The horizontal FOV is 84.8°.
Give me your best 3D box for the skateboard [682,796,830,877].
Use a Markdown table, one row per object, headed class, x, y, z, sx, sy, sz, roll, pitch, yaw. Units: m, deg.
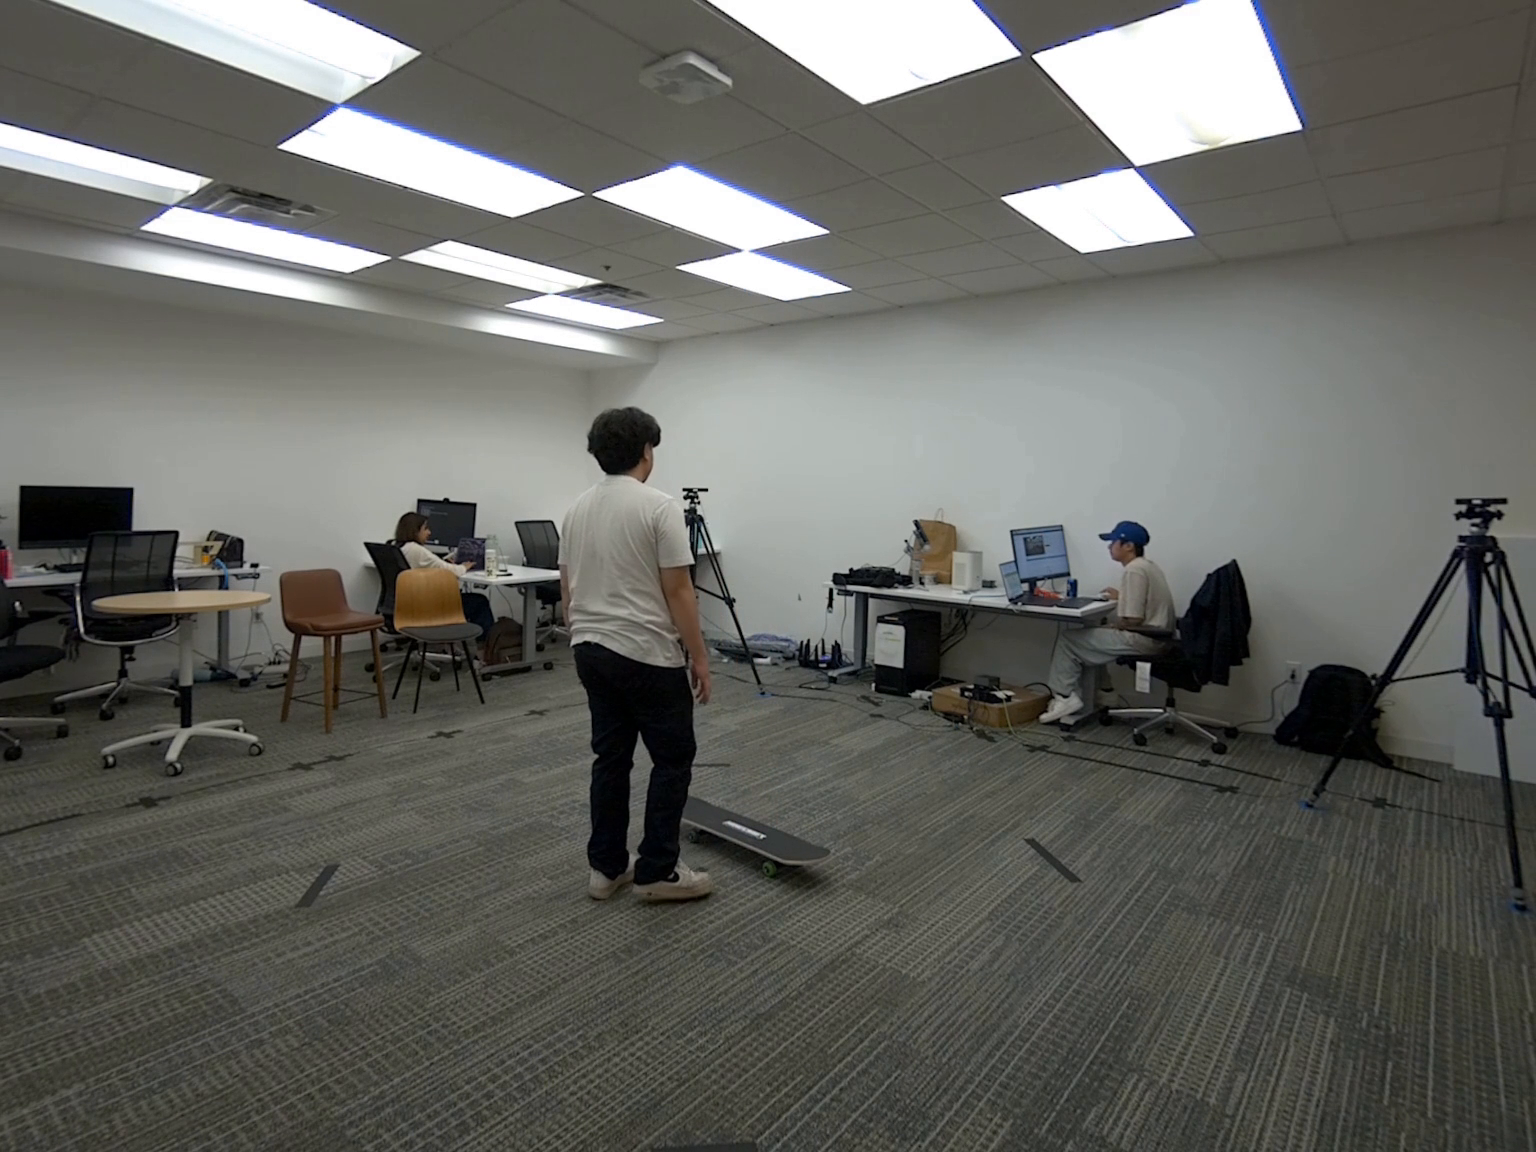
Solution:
| class | x | y | z | sx | sy | sz | roll | pitch | yaw |
| --- | --- | --- | --- | --- | --- | --- | --- | --- | --- |
| skateboard | -0.103 | 0.996 | 3.260 | 0.813 | 0.110 | 0.187 | 7 | 7 | 43 |
